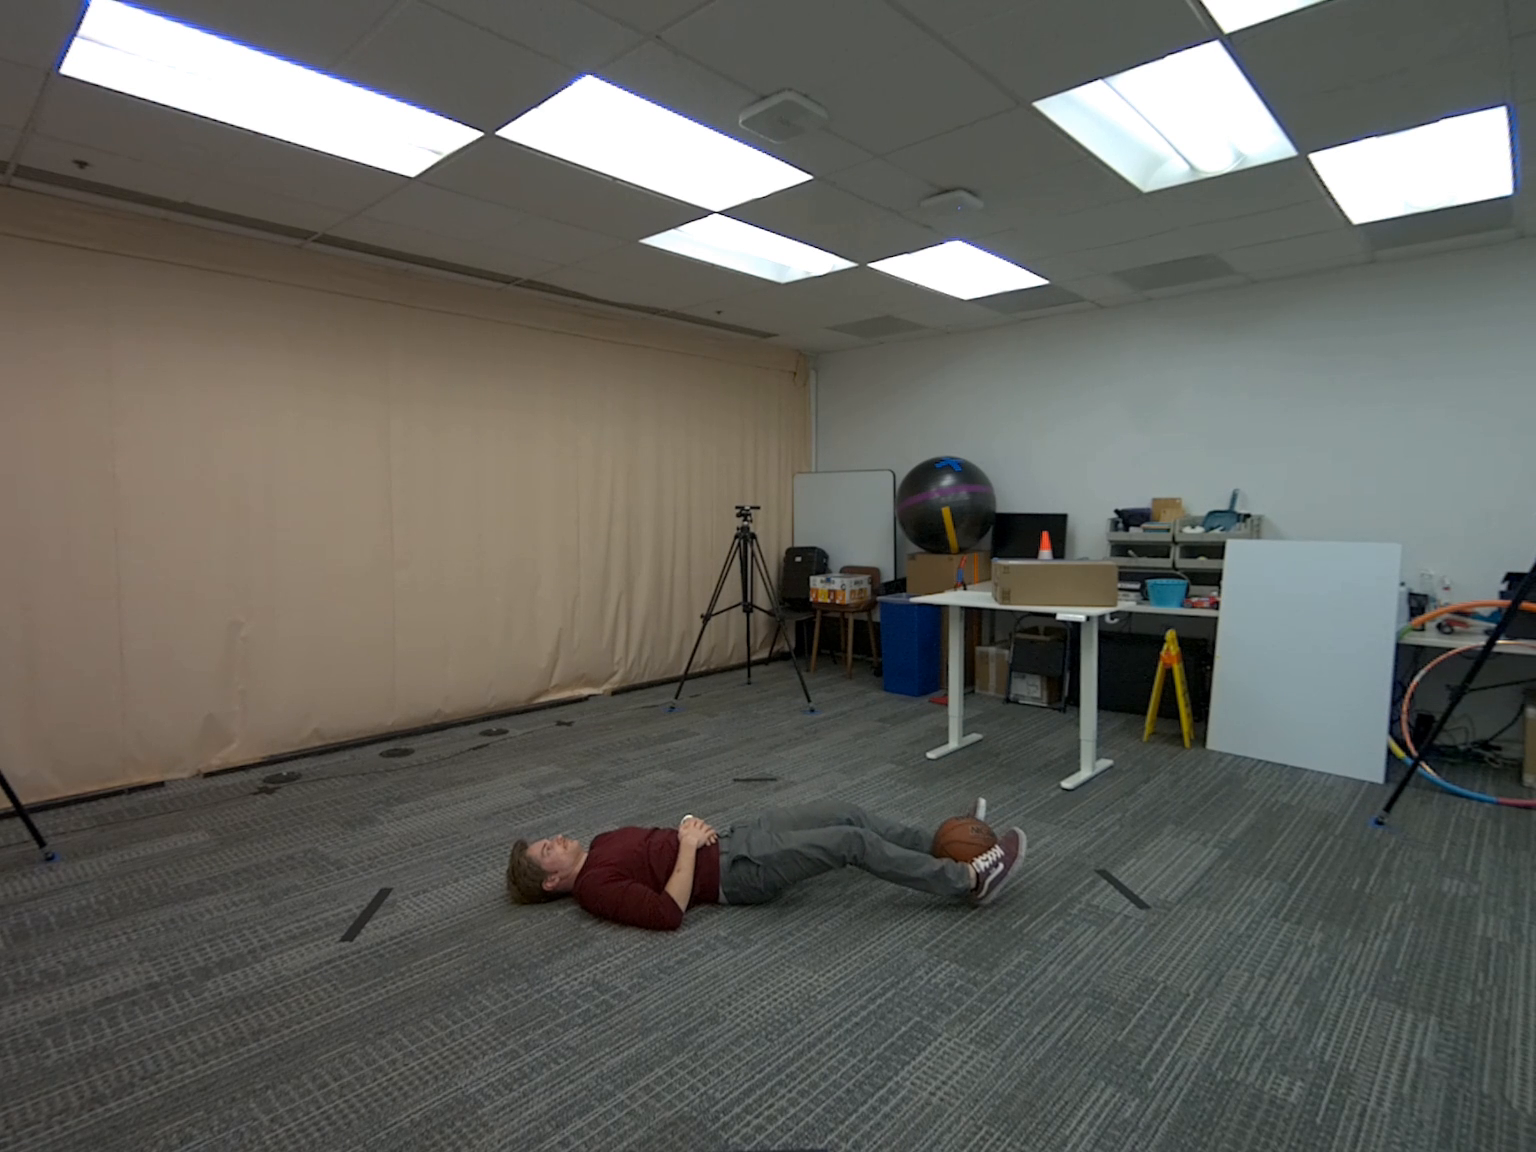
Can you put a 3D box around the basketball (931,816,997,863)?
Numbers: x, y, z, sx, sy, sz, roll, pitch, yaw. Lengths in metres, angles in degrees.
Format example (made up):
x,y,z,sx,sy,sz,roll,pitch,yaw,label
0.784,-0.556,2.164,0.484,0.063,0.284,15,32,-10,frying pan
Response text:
x,y,z,sx,sy,sz,roll,pitch,yaw,label
0.727,0.984,3.047,0.235,0.235,0.237,3,5,-2,basketball
